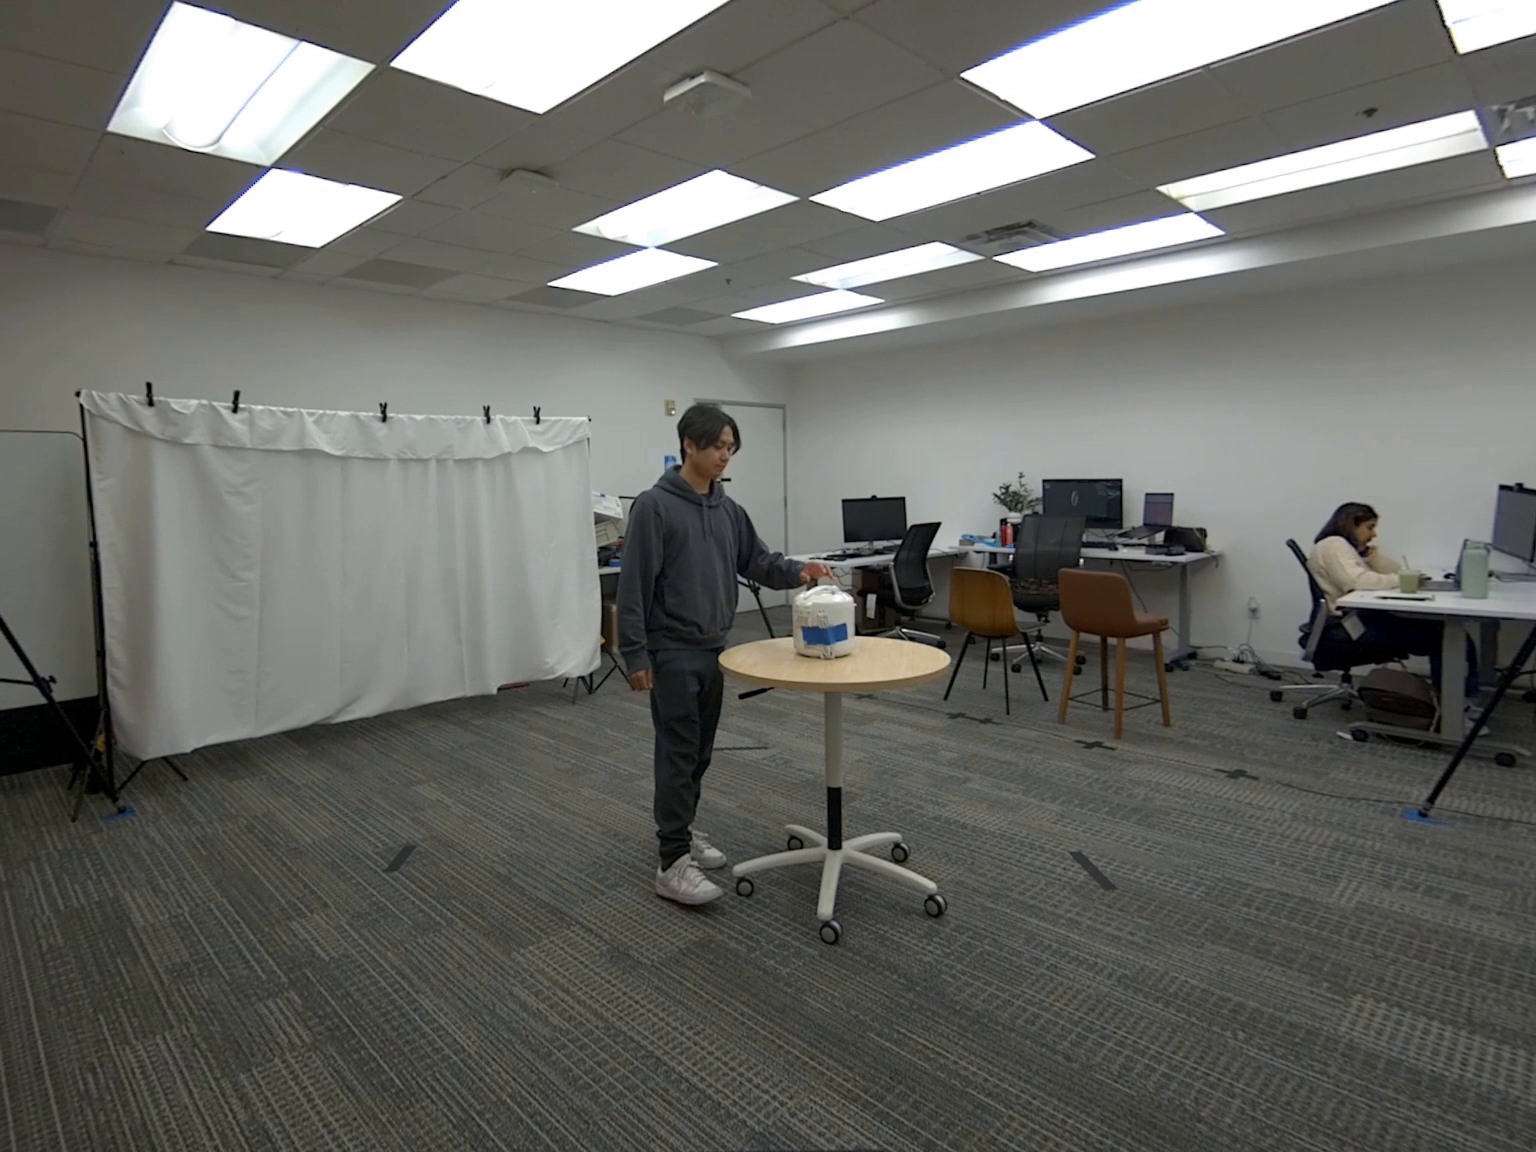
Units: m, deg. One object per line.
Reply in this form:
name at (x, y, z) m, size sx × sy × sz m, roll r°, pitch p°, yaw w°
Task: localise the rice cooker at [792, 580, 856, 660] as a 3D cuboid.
rice cooker at (0.186, 0.147, 2.897) m, size 0.215 × 0.232 × 0.224 m, roll -4°, pitch 5°, yaw -44°
